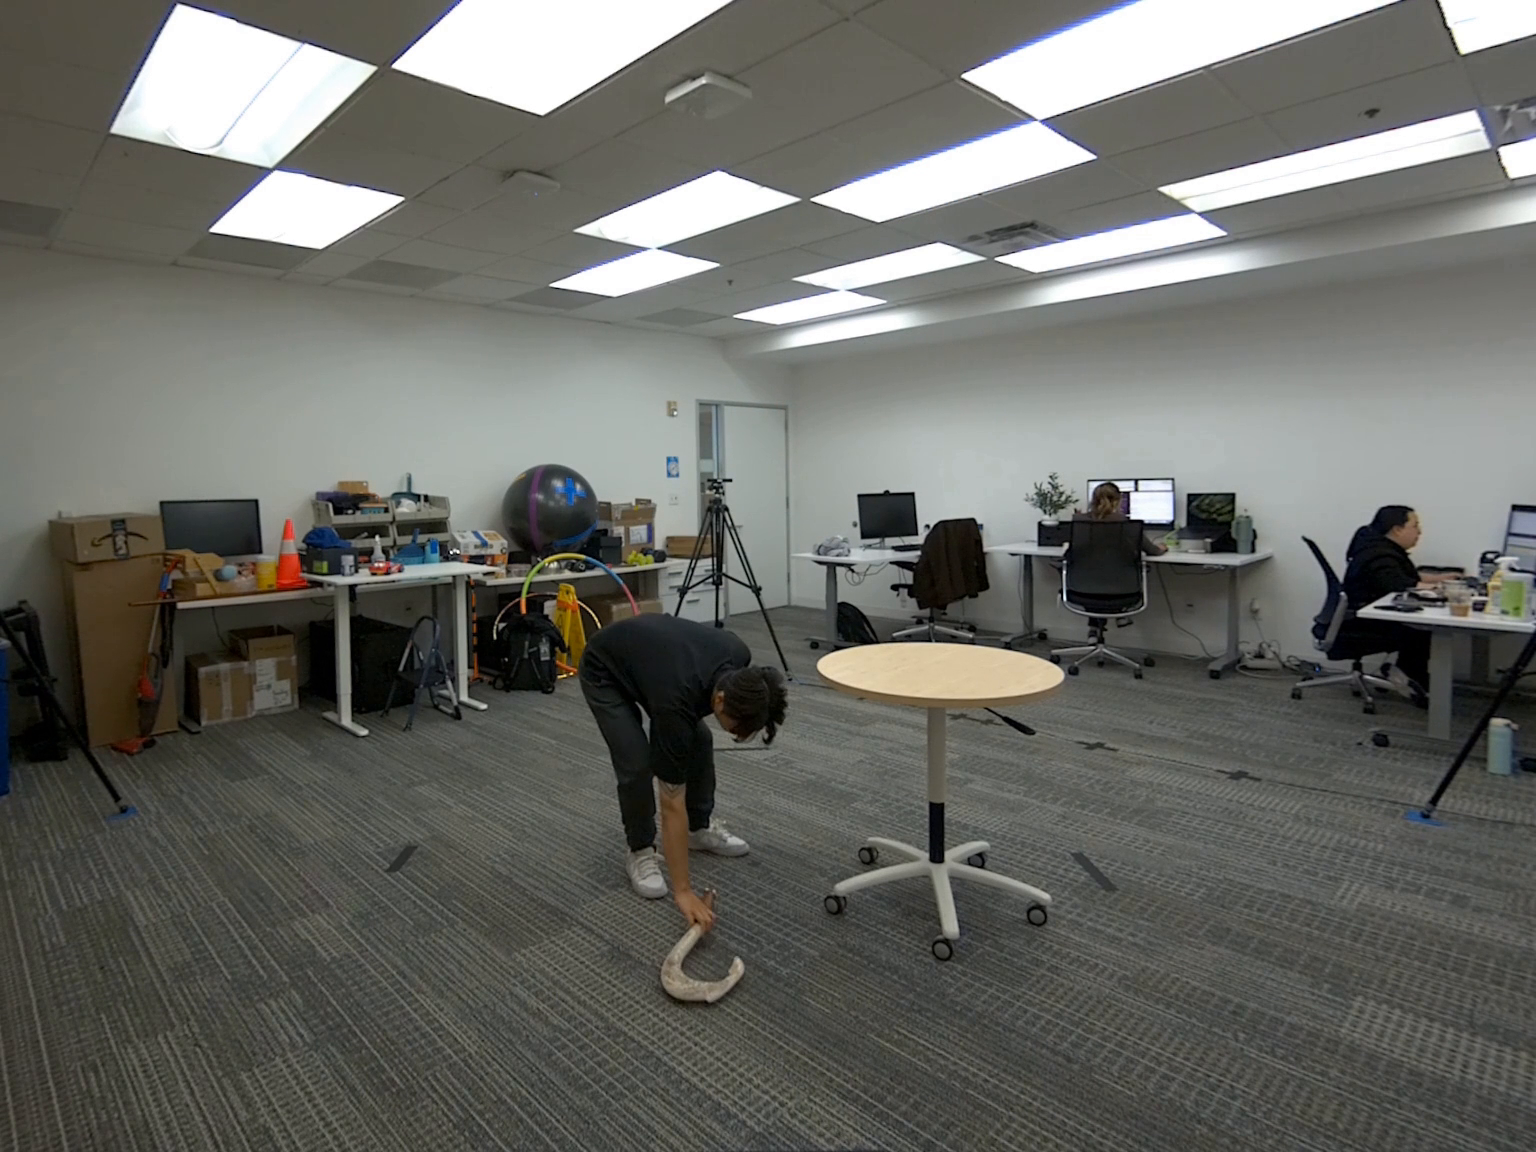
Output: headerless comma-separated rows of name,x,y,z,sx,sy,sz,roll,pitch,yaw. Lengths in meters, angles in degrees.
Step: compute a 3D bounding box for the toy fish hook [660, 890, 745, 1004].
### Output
toy fish hook,-0.181,1.083,2.514,0.226,0.048,0.508,6,12,4
